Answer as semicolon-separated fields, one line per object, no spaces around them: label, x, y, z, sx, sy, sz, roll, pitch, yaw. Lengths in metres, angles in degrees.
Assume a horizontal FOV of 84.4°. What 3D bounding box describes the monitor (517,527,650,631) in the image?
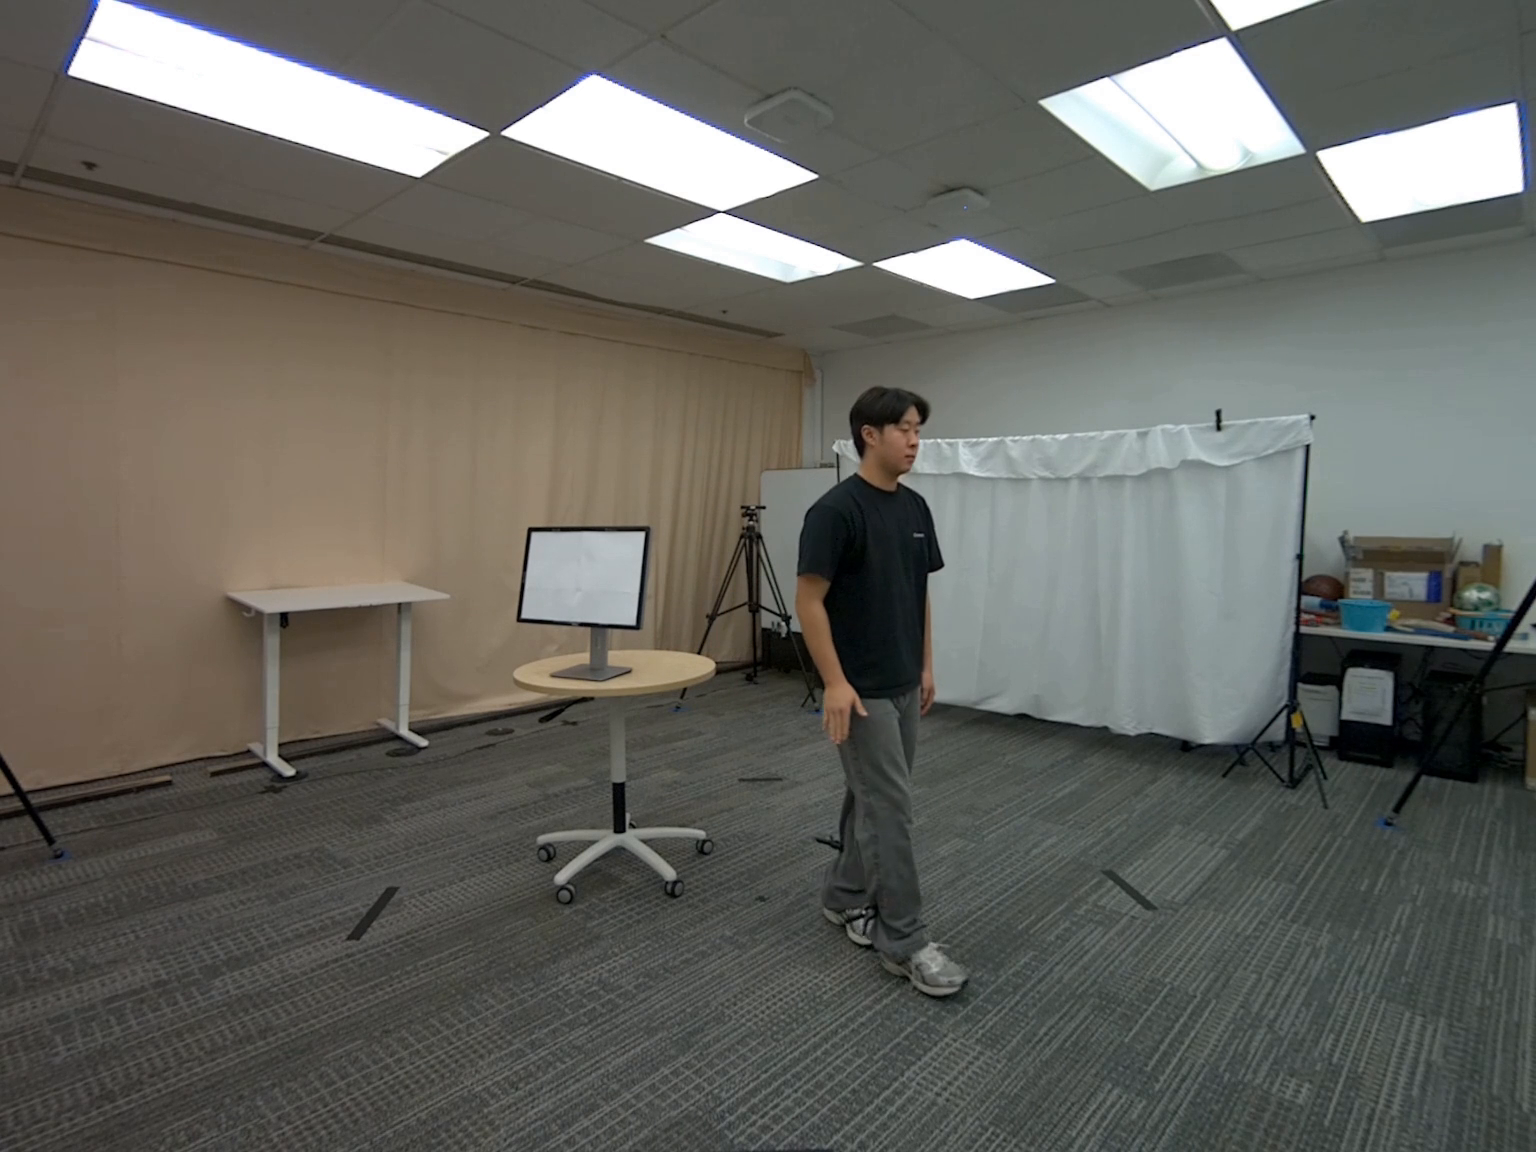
monitor;-0.659;0.103;3.074;0.578;0.564;0.216;1;6;30
